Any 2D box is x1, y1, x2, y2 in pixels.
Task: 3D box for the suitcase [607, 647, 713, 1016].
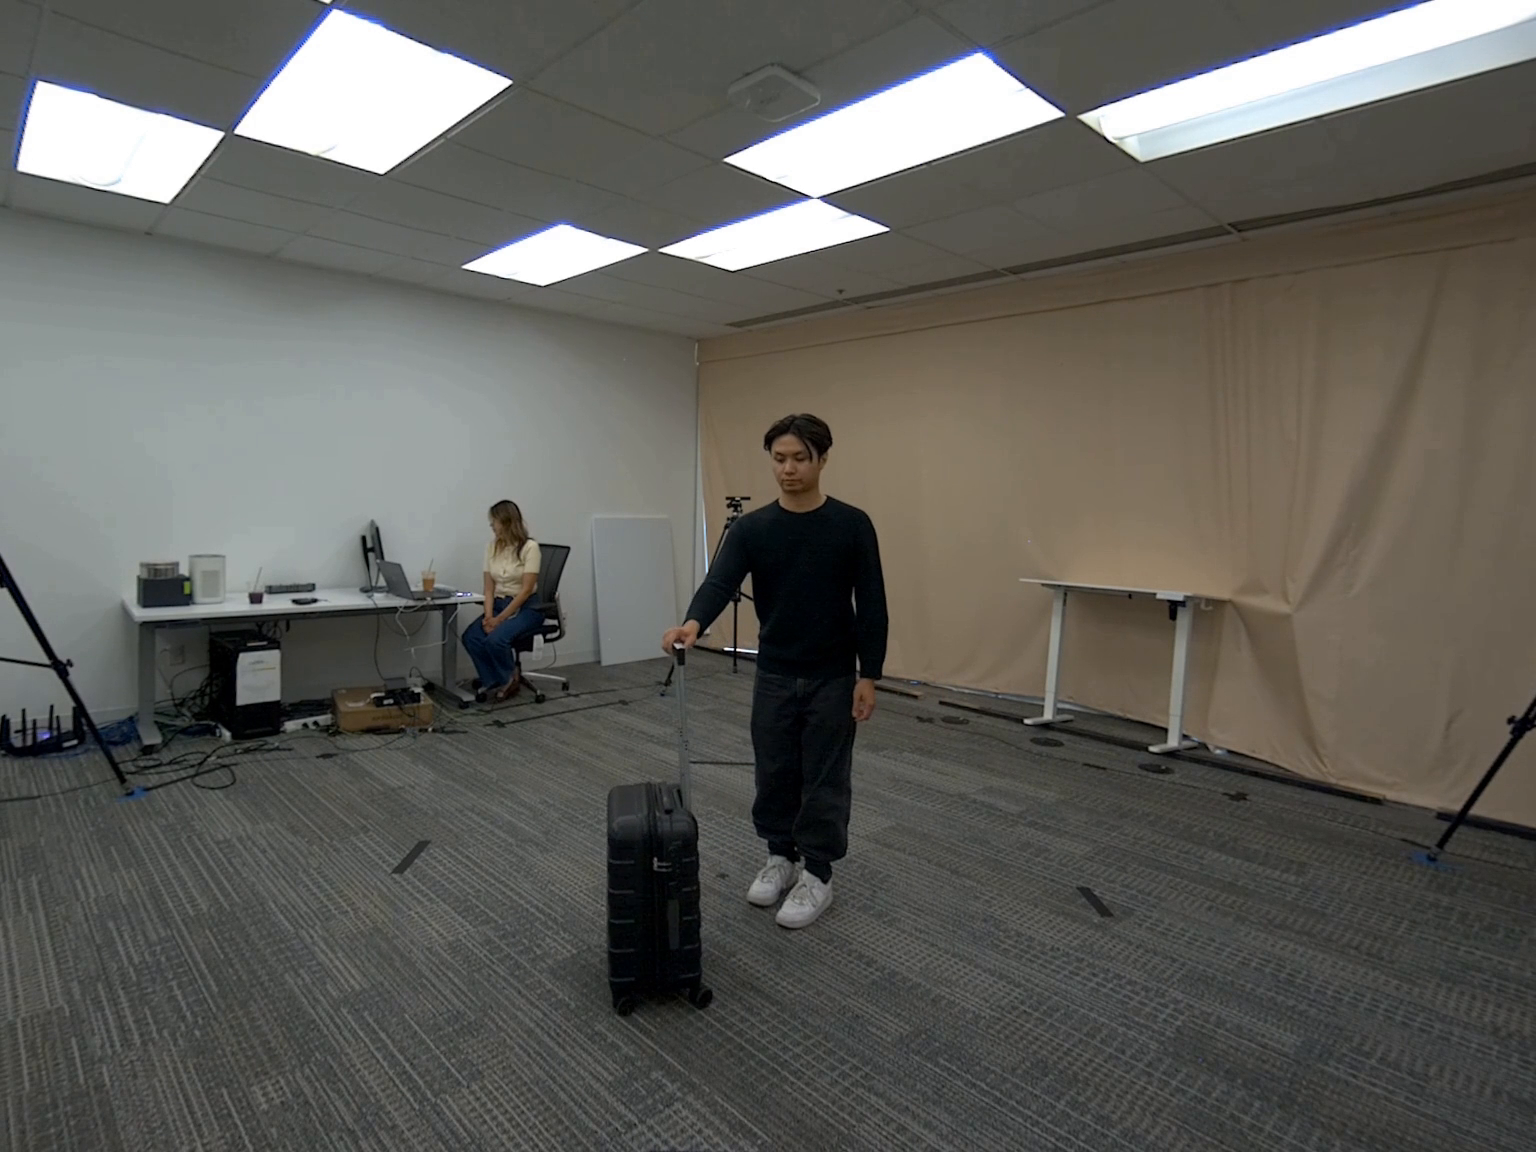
[{"bbox_3d":[-0.342,0.695,2.382,0.255,0.975,0.388,-2,5,-11],"label":"suitcase"}]
